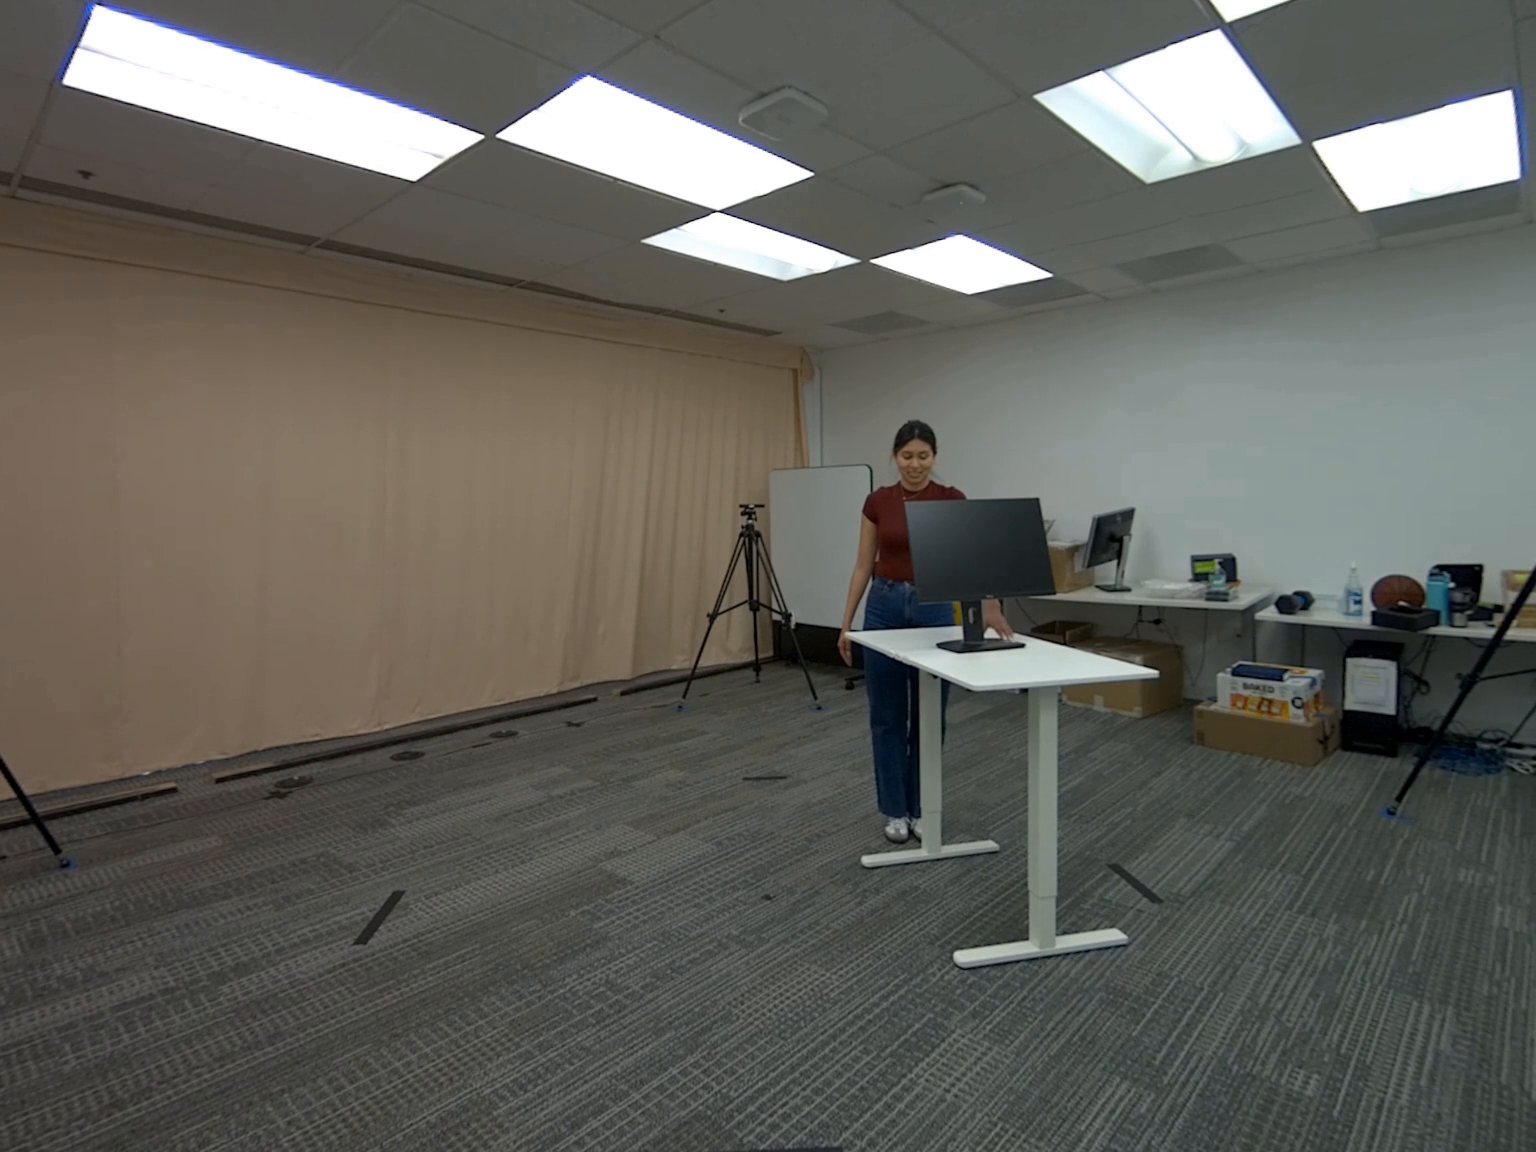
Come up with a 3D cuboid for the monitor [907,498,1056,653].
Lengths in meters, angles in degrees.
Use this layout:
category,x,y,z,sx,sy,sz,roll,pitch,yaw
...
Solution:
category,x,y,z,sx,sy,sz,roll,pitch,yaw
monitor,0.727,-0.007,2.938,0.529,0.522,0.190,-3,1,-18
